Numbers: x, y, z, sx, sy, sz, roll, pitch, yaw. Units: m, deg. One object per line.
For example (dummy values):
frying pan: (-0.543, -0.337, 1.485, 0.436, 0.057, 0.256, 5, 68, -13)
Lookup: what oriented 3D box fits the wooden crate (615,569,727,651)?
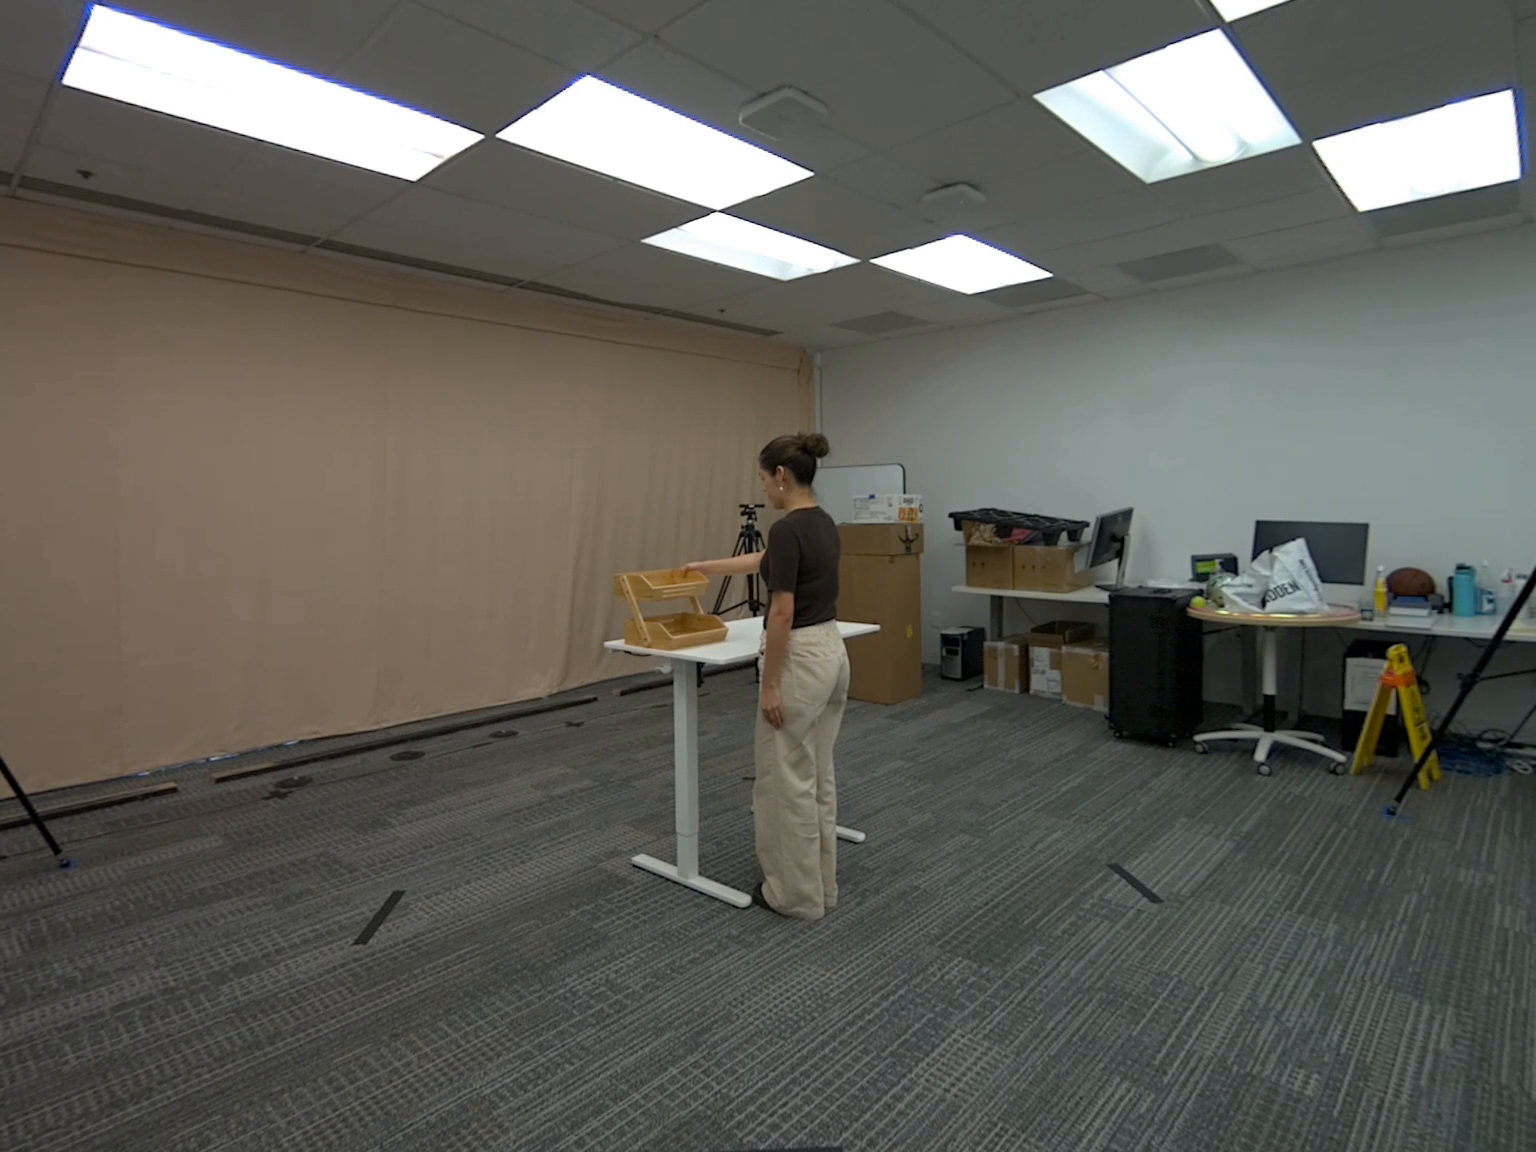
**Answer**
wooden crate: (-0.358, 0.116, 3.150, 0.312, 0.273, 0.314, 1, 3, 40)
